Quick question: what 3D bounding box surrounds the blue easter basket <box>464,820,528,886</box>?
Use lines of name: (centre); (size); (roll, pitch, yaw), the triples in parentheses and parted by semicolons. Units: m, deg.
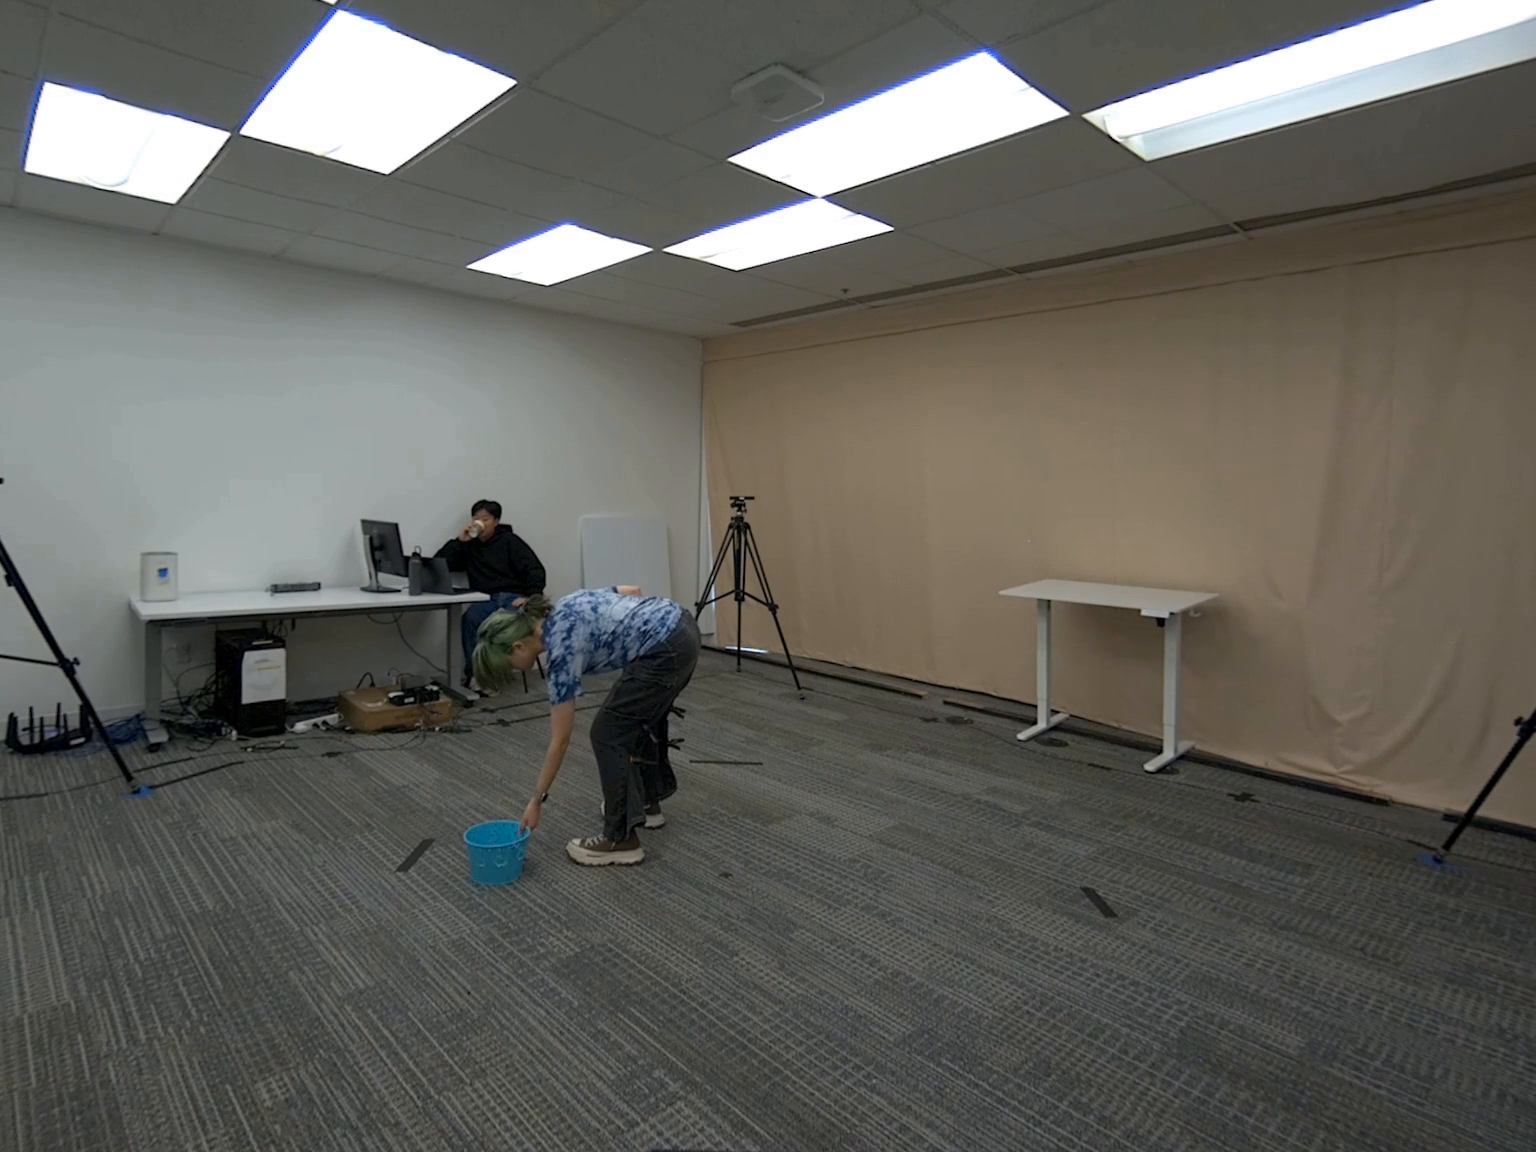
blue easter basket: (-0.993, 1.013, 3.069); (0.243, 0.155, 0.244); (3, 6, -2)
